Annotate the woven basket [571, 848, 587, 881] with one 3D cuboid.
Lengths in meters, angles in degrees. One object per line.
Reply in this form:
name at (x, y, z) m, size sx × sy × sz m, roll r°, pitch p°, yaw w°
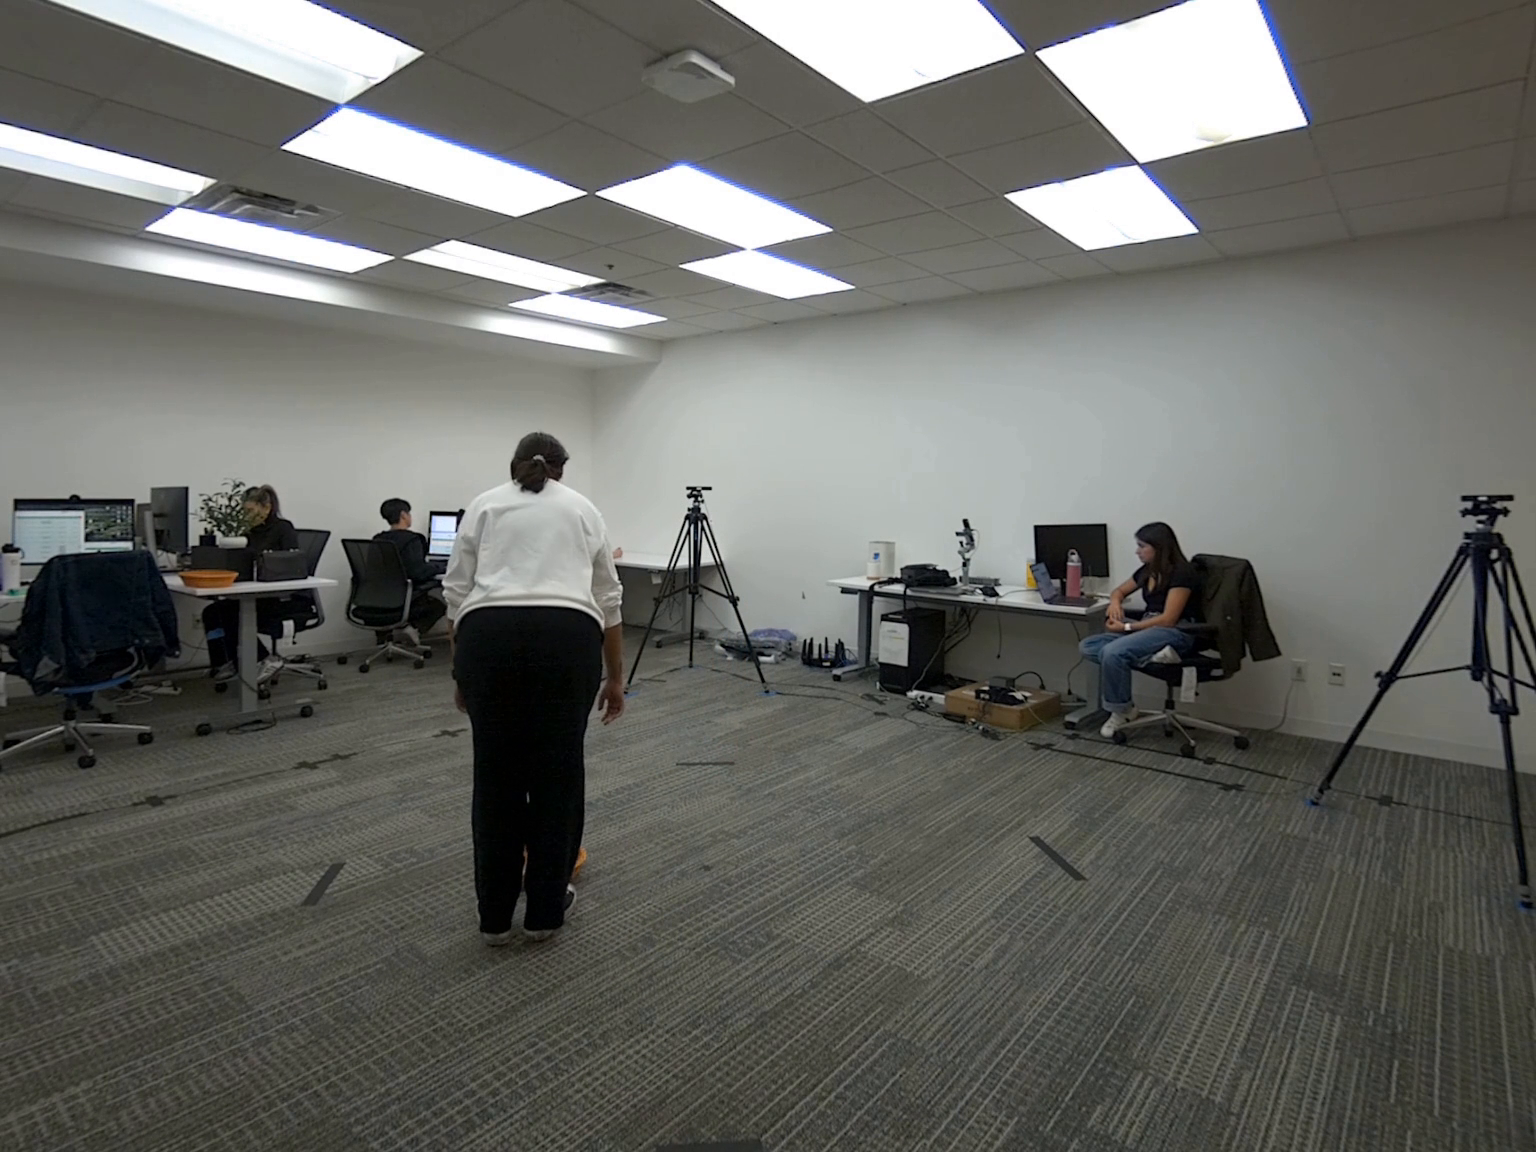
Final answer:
woven basket at (-0.812, 1.020, 3.025) m, size 0.349 × 0.073 × 0.255 m, roll 1°, pitch 7°, yaw -4°
